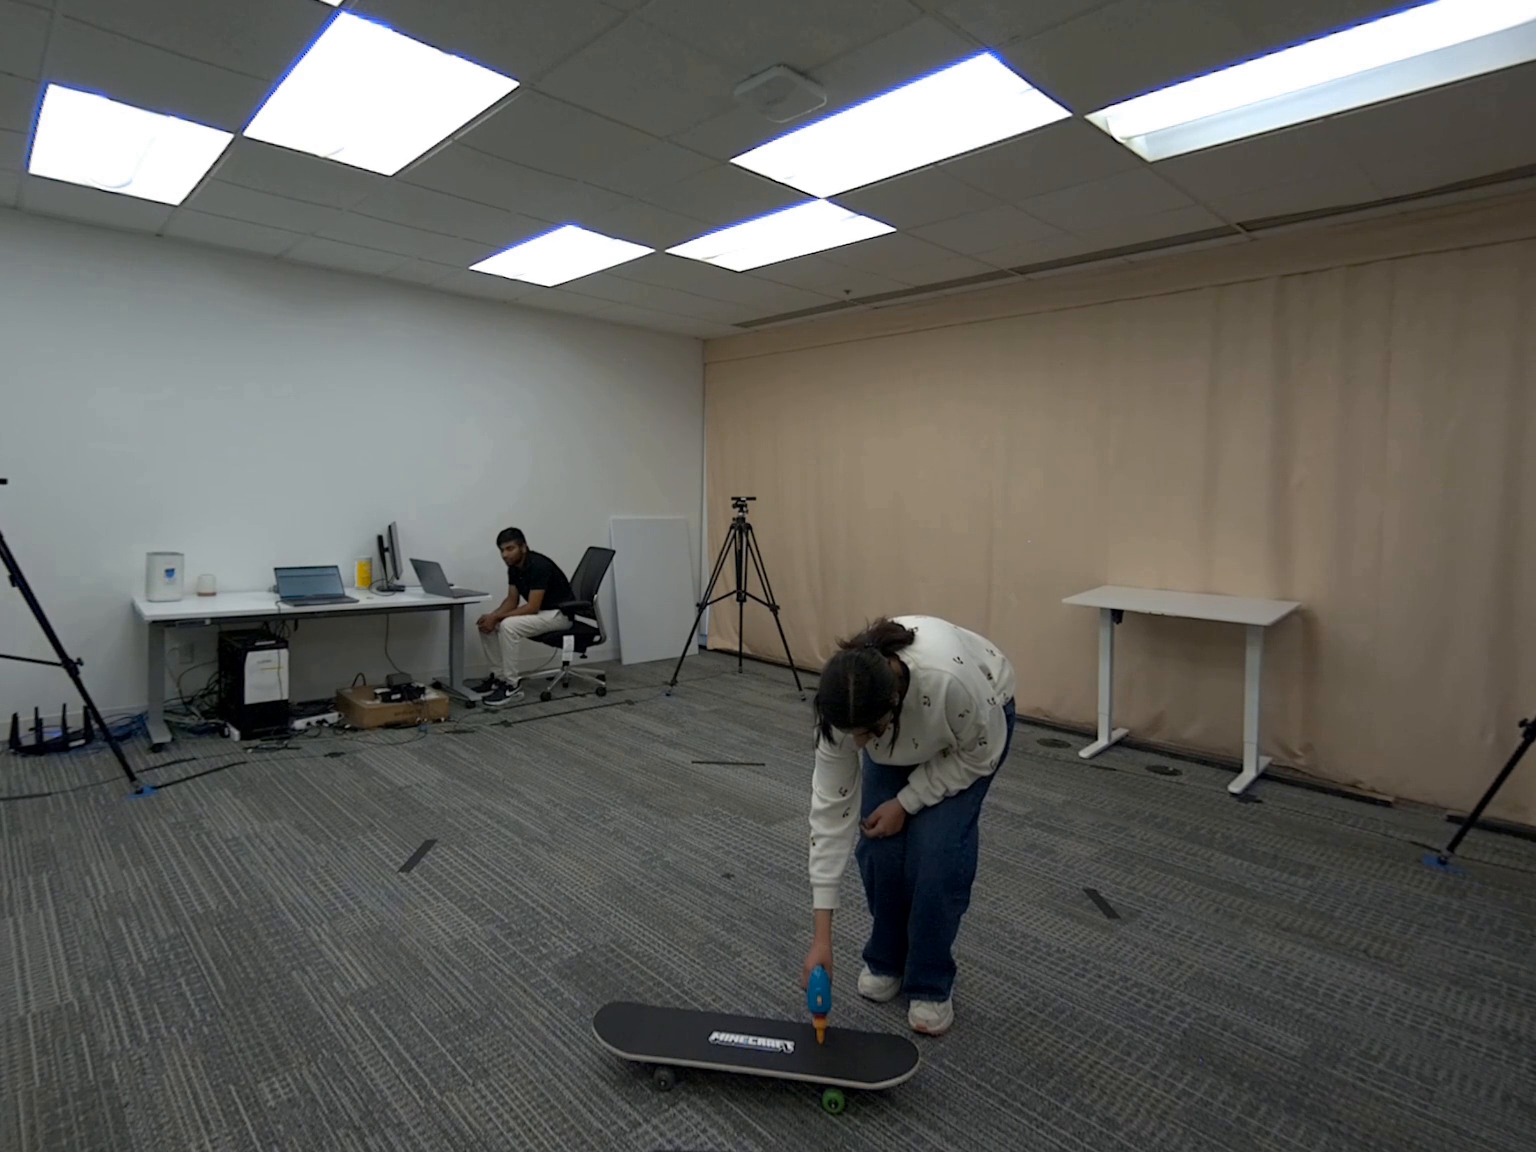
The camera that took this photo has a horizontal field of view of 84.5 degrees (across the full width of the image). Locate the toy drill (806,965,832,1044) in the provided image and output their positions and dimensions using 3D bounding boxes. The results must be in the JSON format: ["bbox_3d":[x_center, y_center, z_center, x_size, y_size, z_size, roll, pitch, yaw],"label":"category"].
[{"bbox_3d":[0.118,1.041,2.065,0.061,0.171,0.144,0,-7,8],"label":"toy drill"}]
